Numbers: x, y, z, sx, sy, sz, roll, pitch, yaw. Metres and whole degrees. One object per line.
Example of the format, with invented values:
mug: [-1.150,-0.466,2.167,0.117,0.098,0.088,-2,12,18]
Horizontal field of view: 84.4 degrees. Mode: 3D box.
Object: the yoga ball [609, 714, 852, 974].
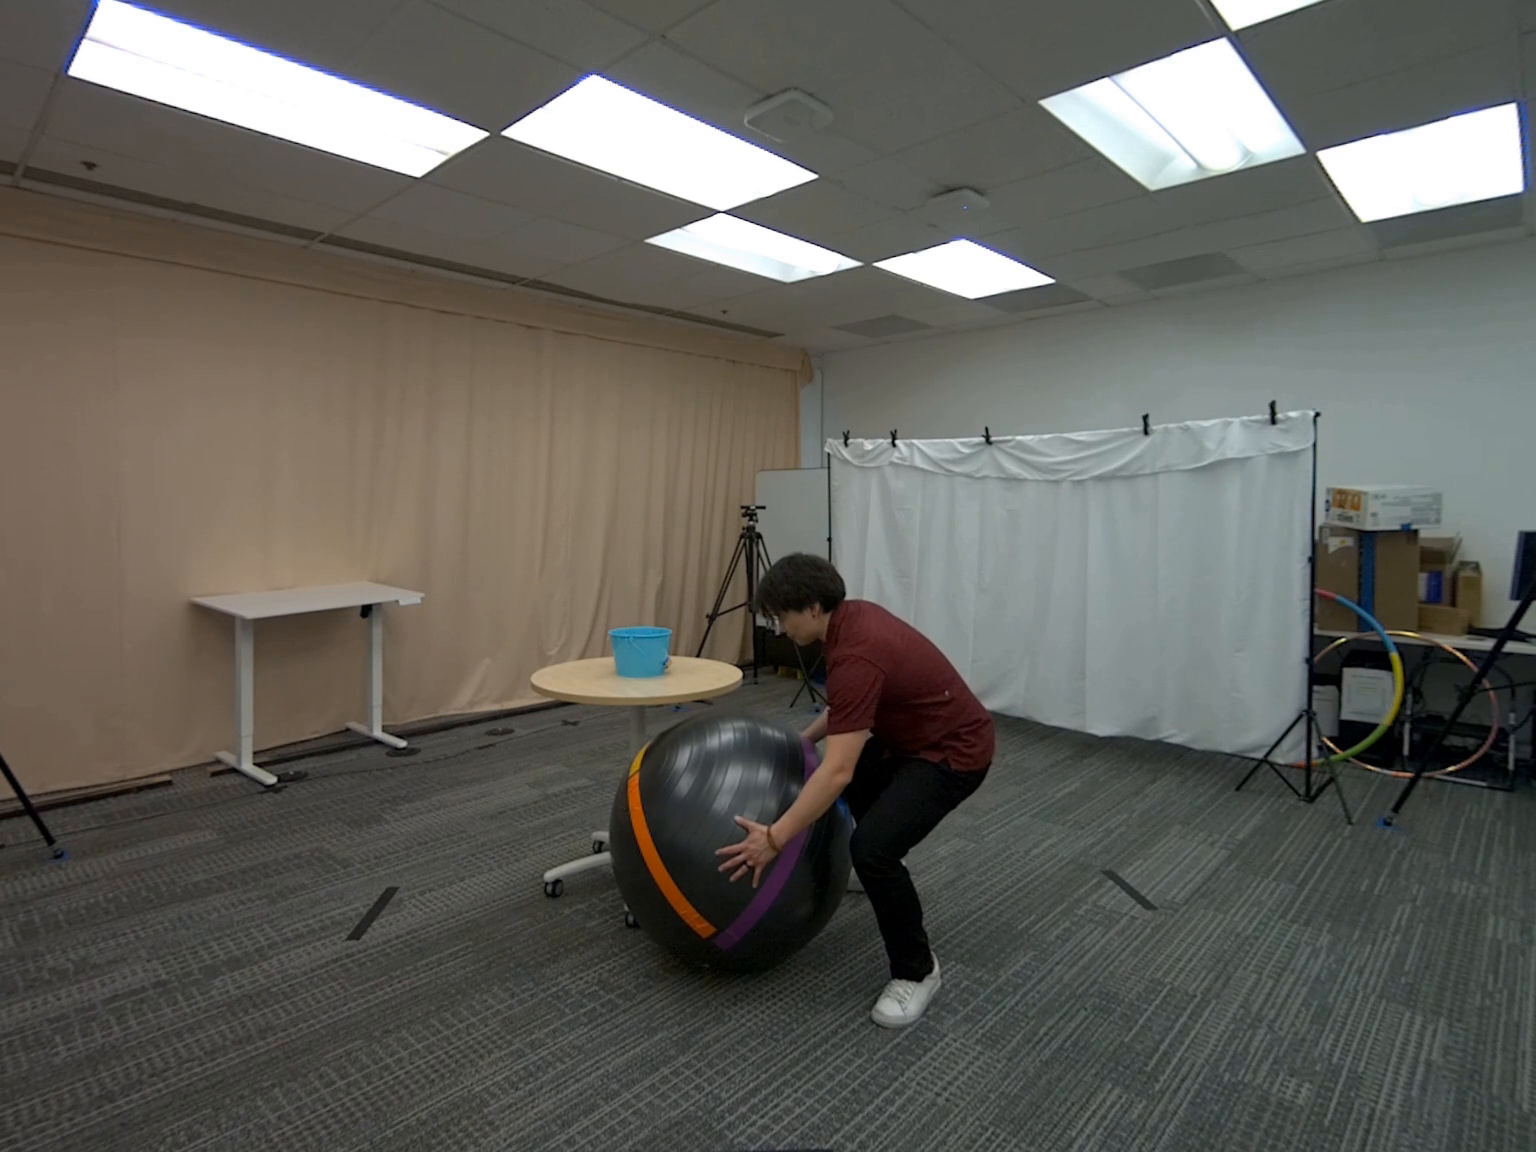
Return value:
yoga ball: [-0.109,0.814,2.613,0.757,0.756,0.761,0,4,-2]
